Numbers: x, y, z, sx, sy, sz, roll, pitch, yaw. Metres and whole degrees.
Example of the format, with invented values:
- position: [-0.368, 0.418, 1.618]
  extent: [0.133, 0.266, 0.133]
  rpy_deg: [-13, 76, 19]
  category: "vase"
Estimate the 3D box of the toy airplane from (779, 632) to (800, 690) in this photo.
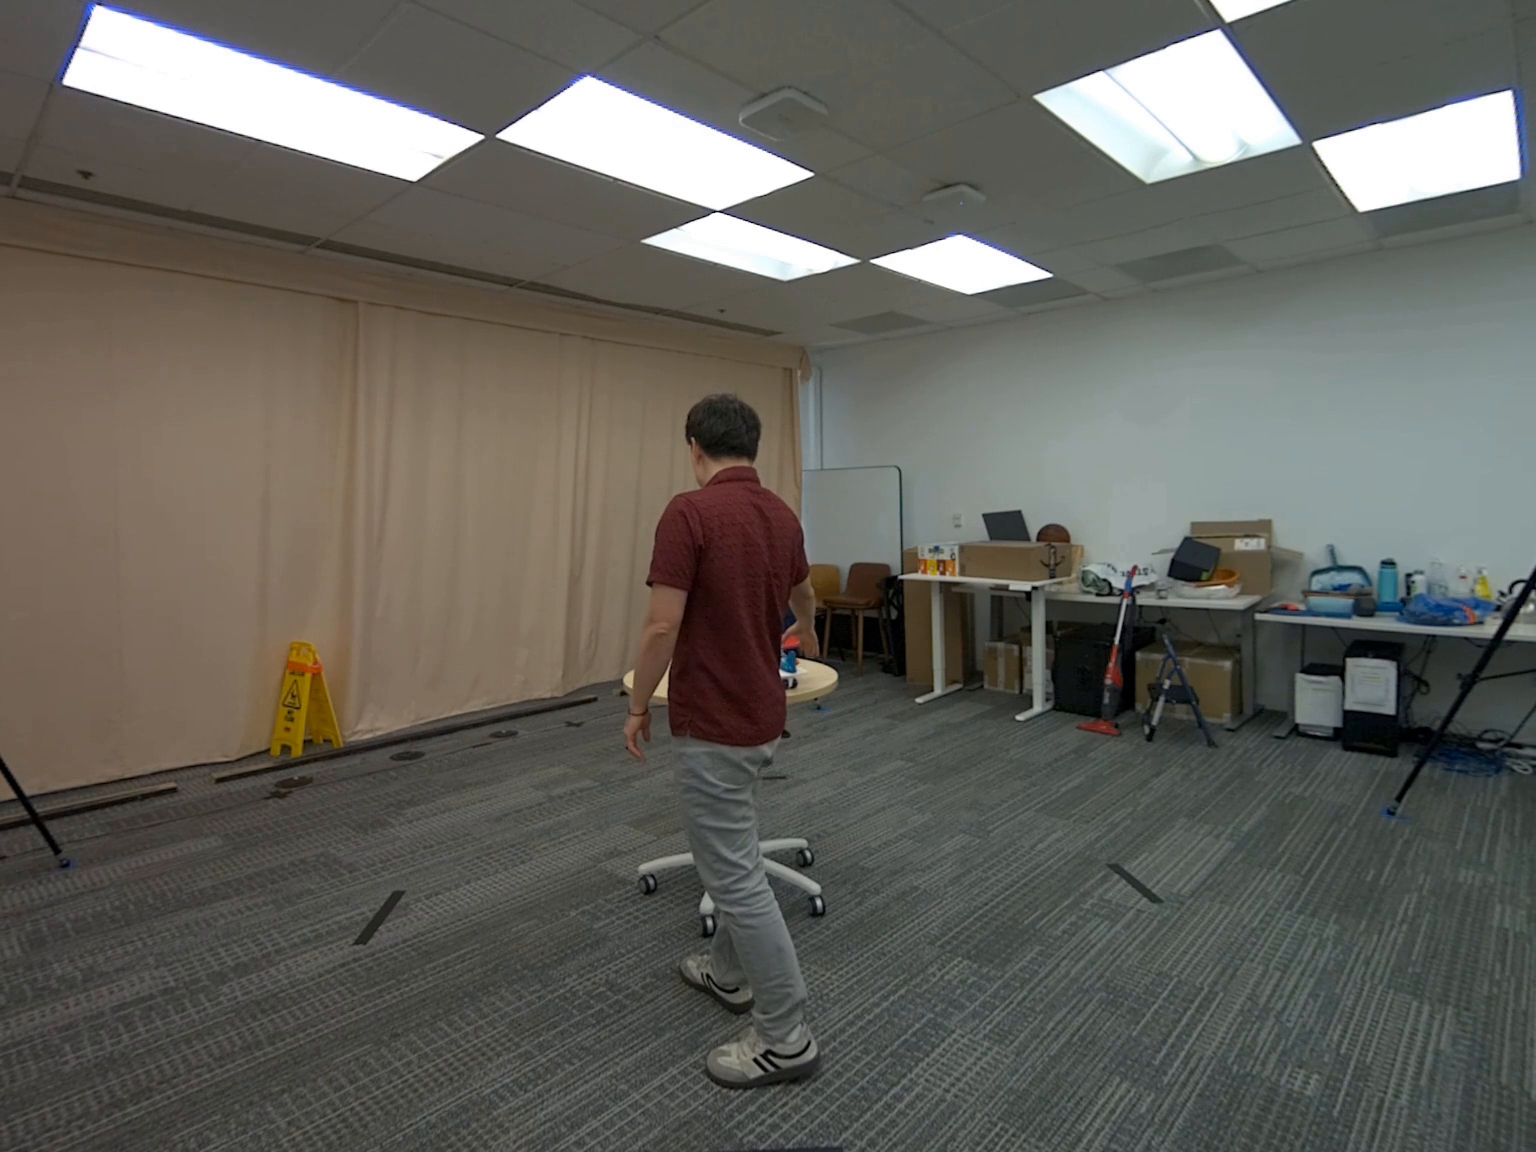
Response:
- position: [0.040, 0.289, 2.862]
  extent: [0.267, 0.156, 0.245]
  rpy_deg: [0, 6, 30]
  category: "toy airplane"
